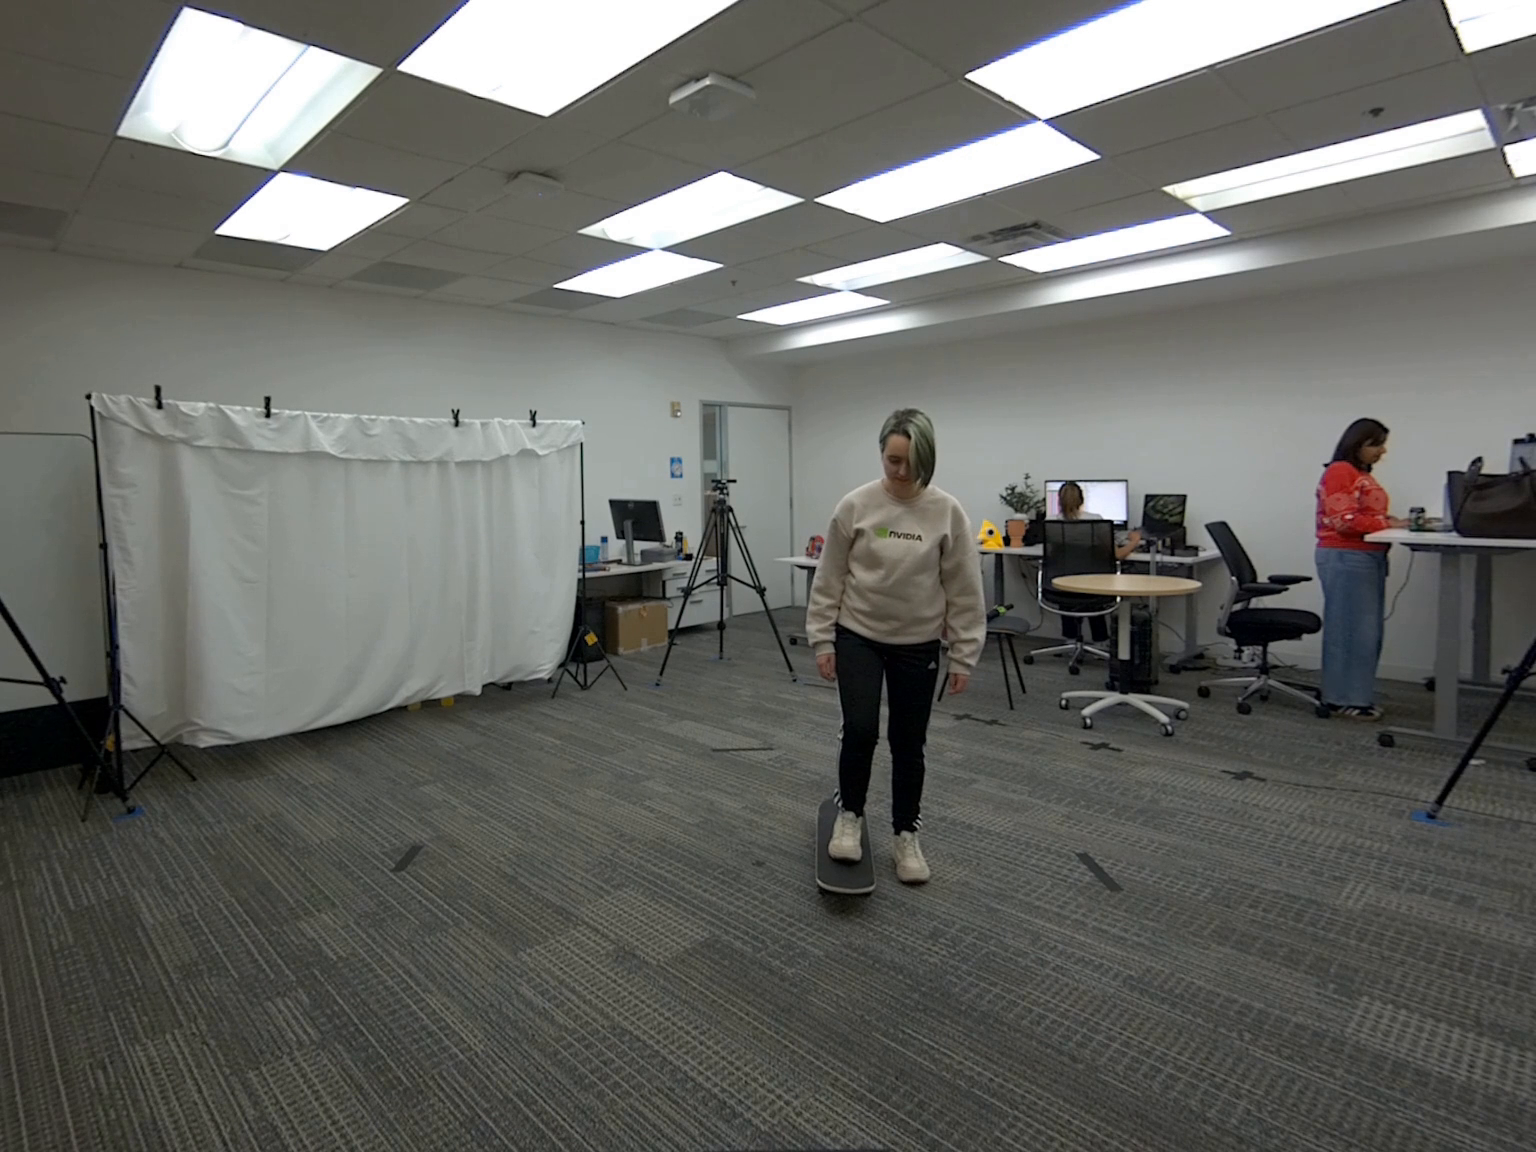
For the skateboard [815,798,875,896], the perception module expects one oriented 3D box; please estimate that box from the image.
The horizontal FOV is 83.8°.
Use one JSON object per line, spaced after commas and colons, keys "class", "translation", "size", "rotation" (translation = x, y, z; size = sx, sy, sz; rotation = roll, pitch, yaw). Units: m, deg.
{"class": "skateboard", "translation": [0.279, 0.990, 3.064], "size": [0.194, 0.110, 0.785], "rotation": [0, 7, 3]}
